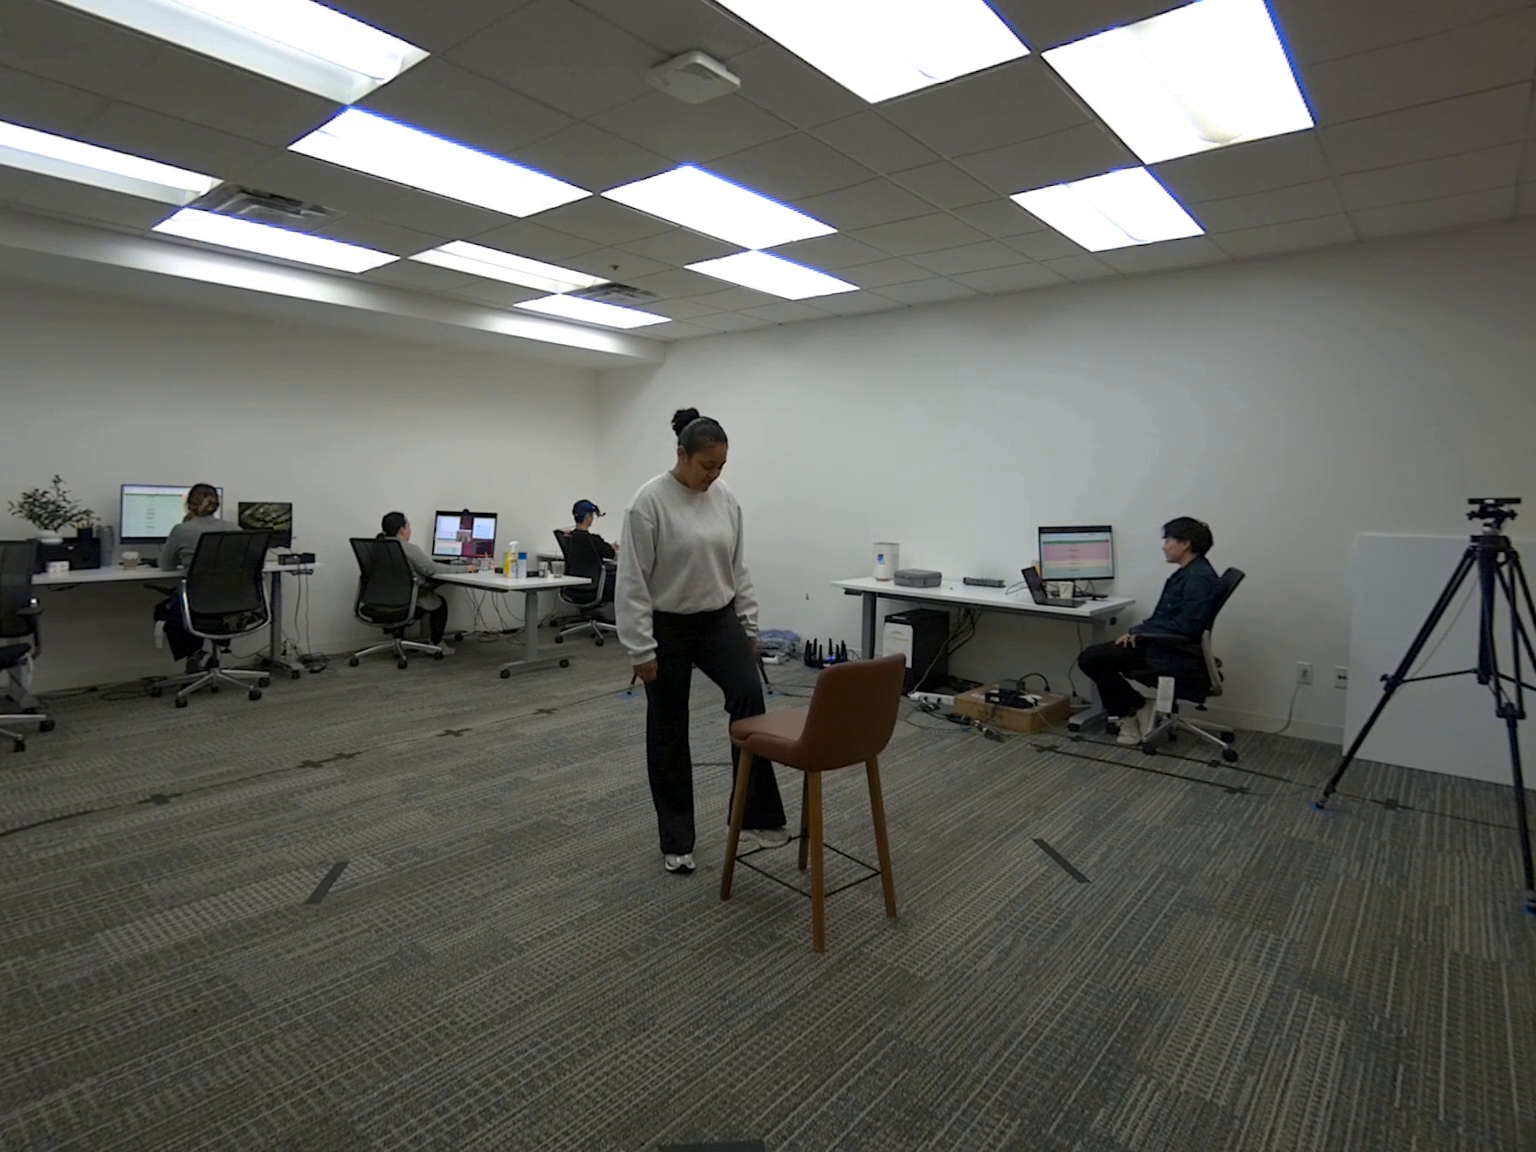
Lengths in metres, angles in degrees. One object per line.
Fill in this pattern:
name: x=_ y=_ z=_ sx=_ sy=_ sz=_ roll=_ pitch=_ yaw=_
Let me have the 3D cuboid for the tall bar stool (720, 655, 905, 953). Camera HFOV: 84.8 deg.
tall bar stool: x=0.150 y=0.668 z=2.811 sx=0.442 sy=0.886 sz=0.484 roll=-1 pitch=6 yaw=-42
